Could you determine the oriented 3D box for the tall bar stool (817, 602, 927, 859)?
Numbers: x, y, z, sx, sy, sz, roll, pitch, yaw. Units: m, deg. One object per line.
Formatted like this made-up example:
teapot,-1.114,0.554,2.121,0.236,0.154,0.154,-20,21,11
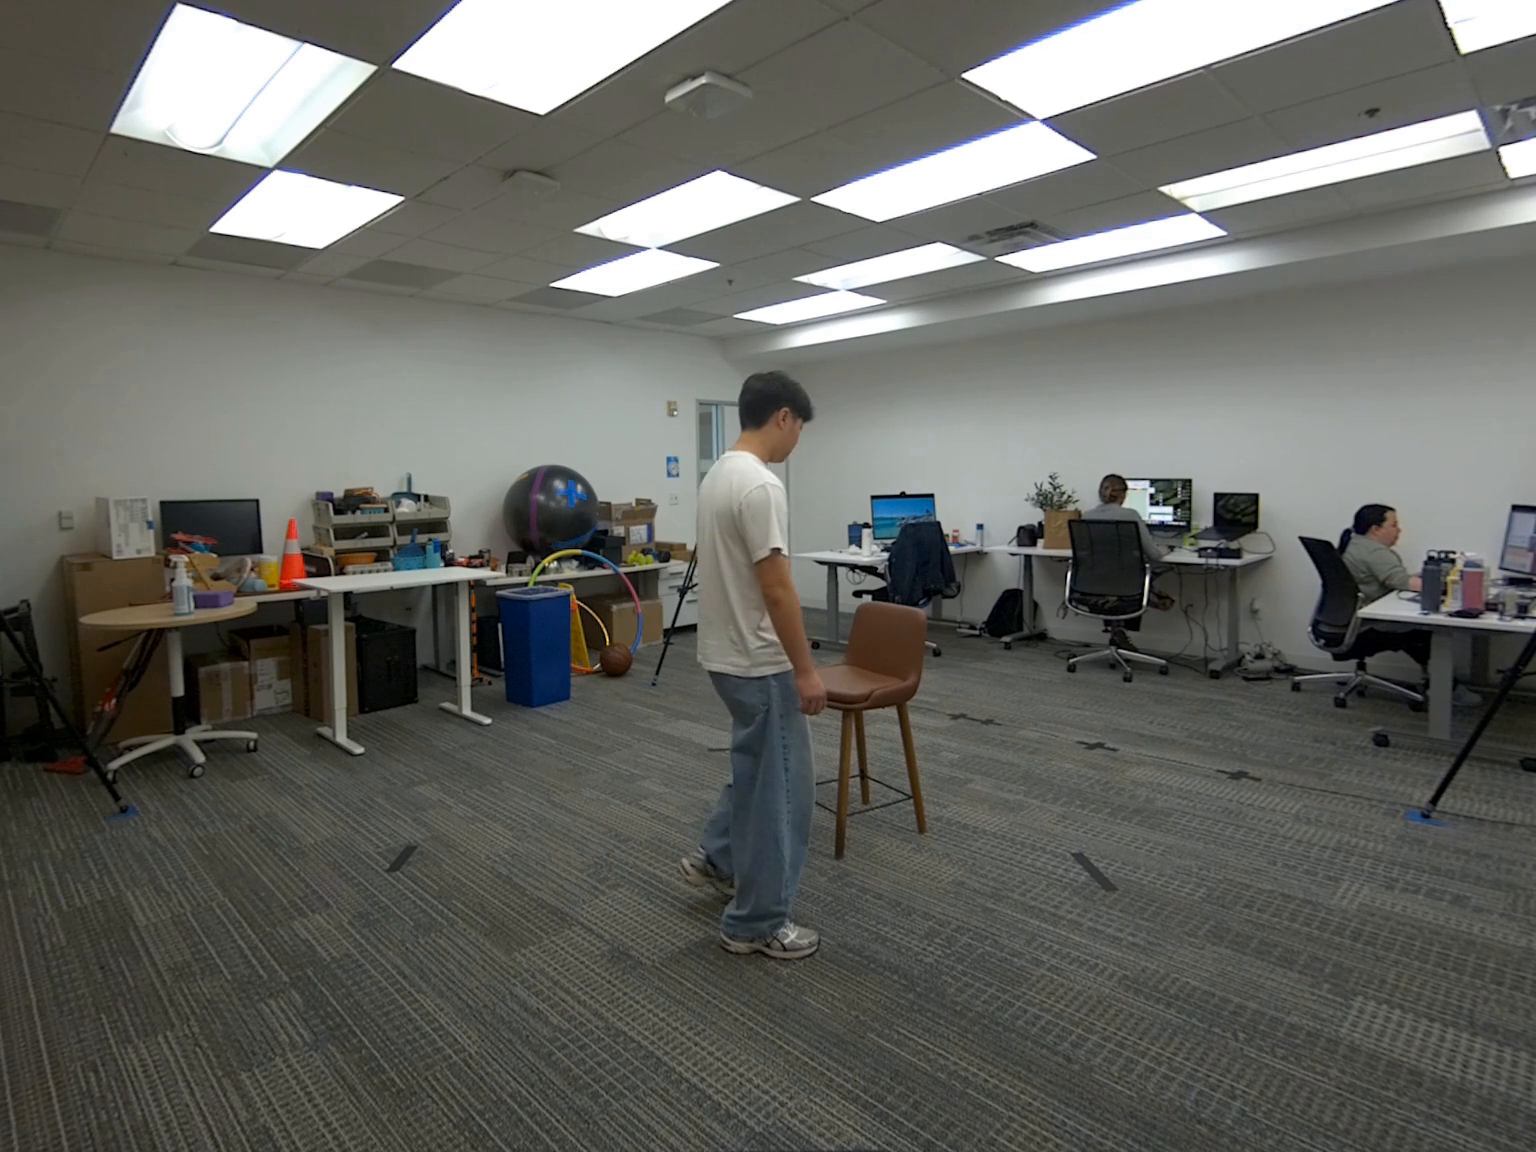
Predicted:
tall bar stool,0.339,0.570,3.388,0.456,0.887,0.469,-1,4,-32
